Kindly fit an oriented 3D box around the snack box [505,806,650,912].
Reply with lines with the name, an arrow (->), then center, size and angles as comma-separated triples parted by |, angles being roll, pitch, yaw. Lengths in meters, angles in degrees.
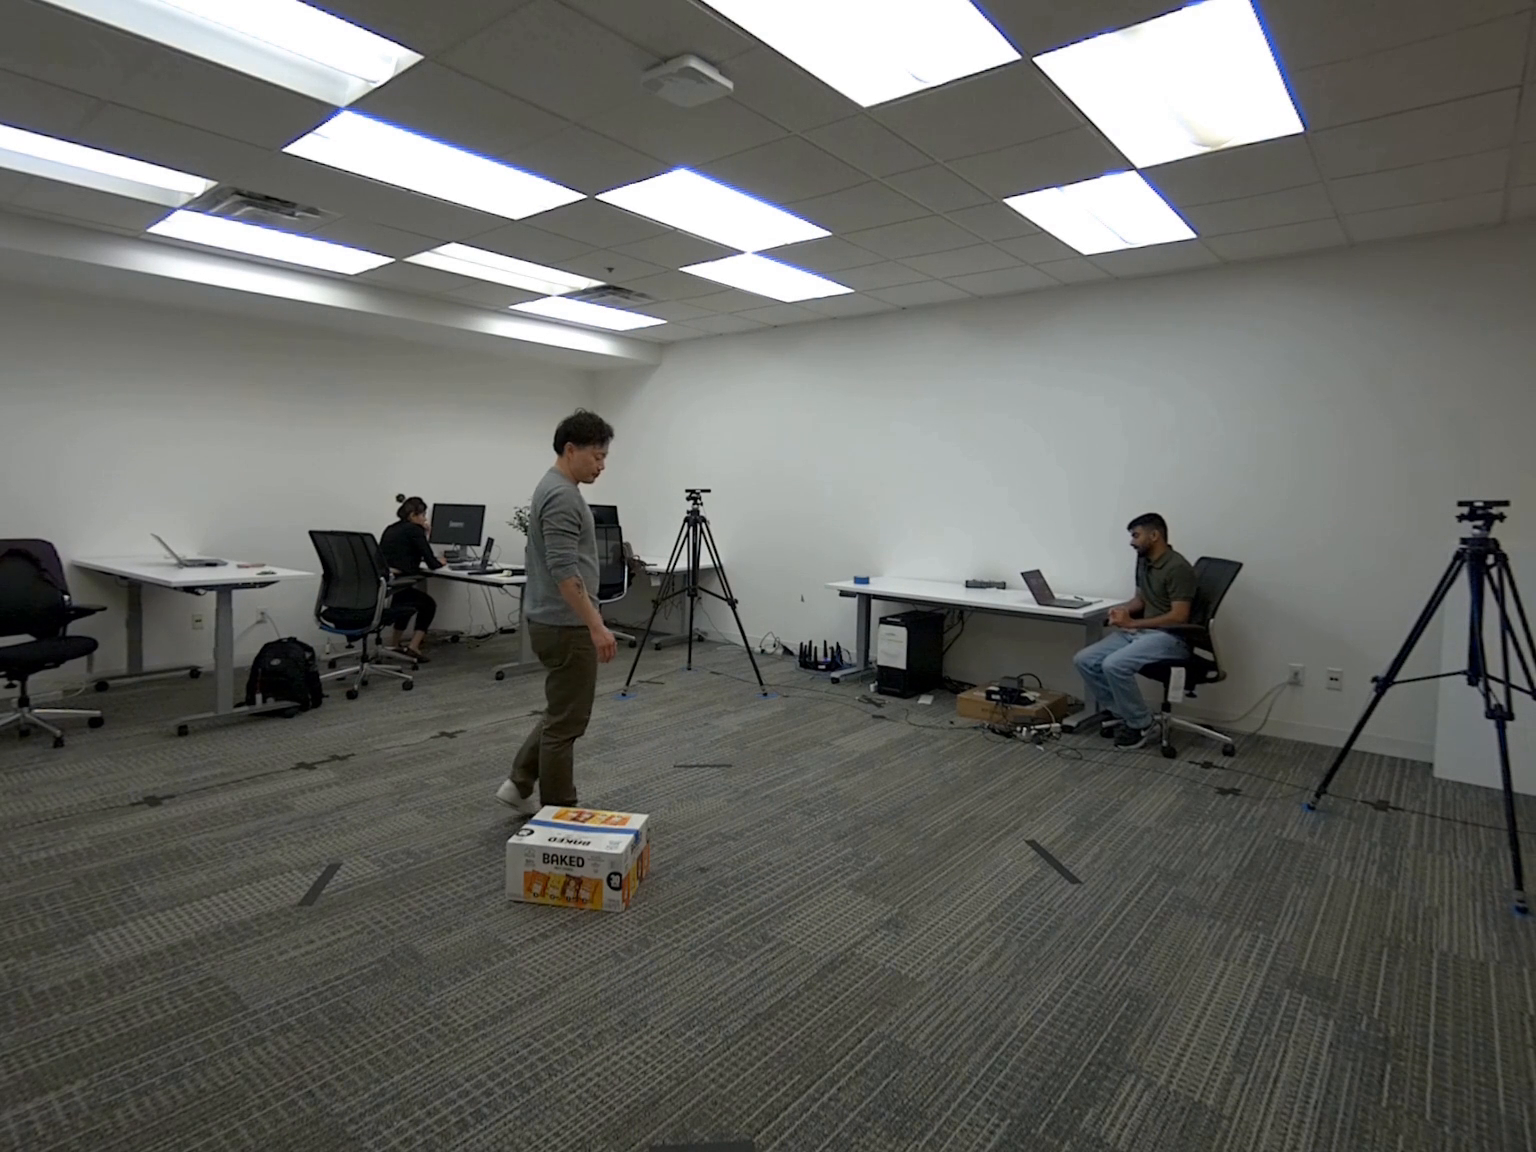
snack box -> -0.663, 0.981, 2.962 | 0.409, 0.205, 0.338 | 2, 5, 9
